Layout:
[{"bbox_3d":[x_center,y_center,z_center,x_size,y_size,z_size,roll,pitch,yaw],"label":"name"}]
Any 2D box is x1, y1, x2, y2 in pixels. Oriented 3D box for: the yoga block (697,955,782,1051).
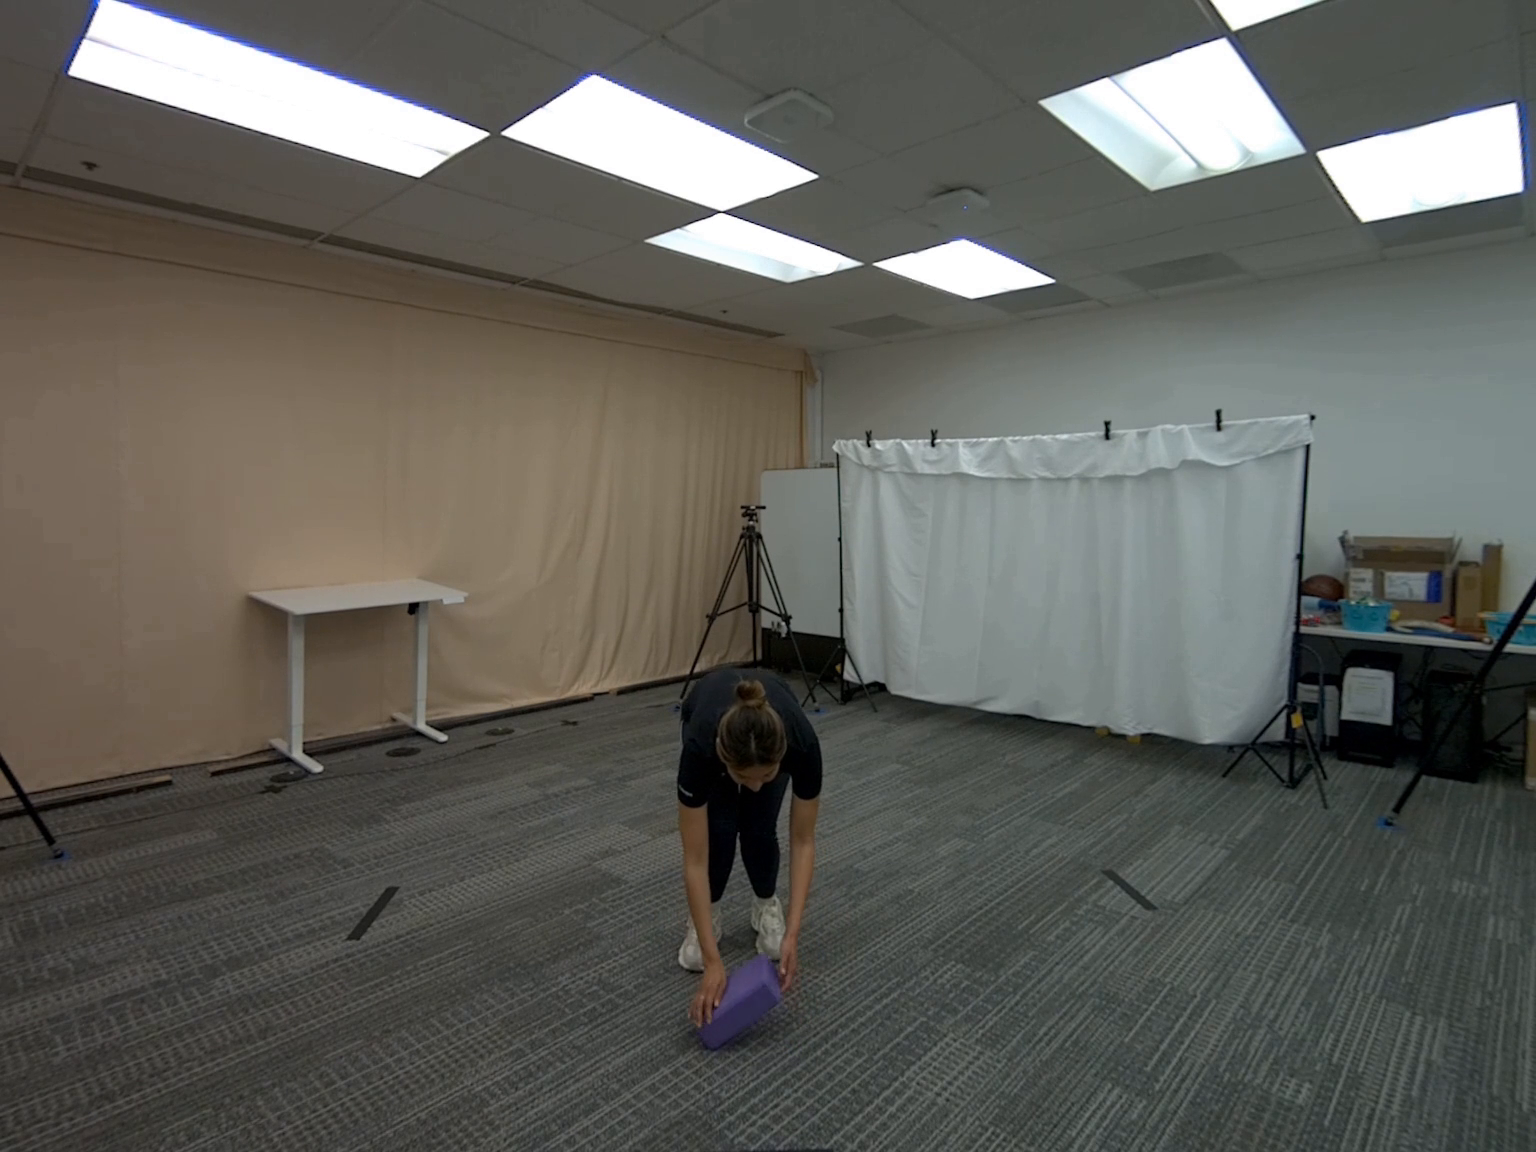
[{"bbox_3d":[-0.073,1.122,2.211,0.230,0.076,0.150,-38,10,3],"label":"yoga block"}]
